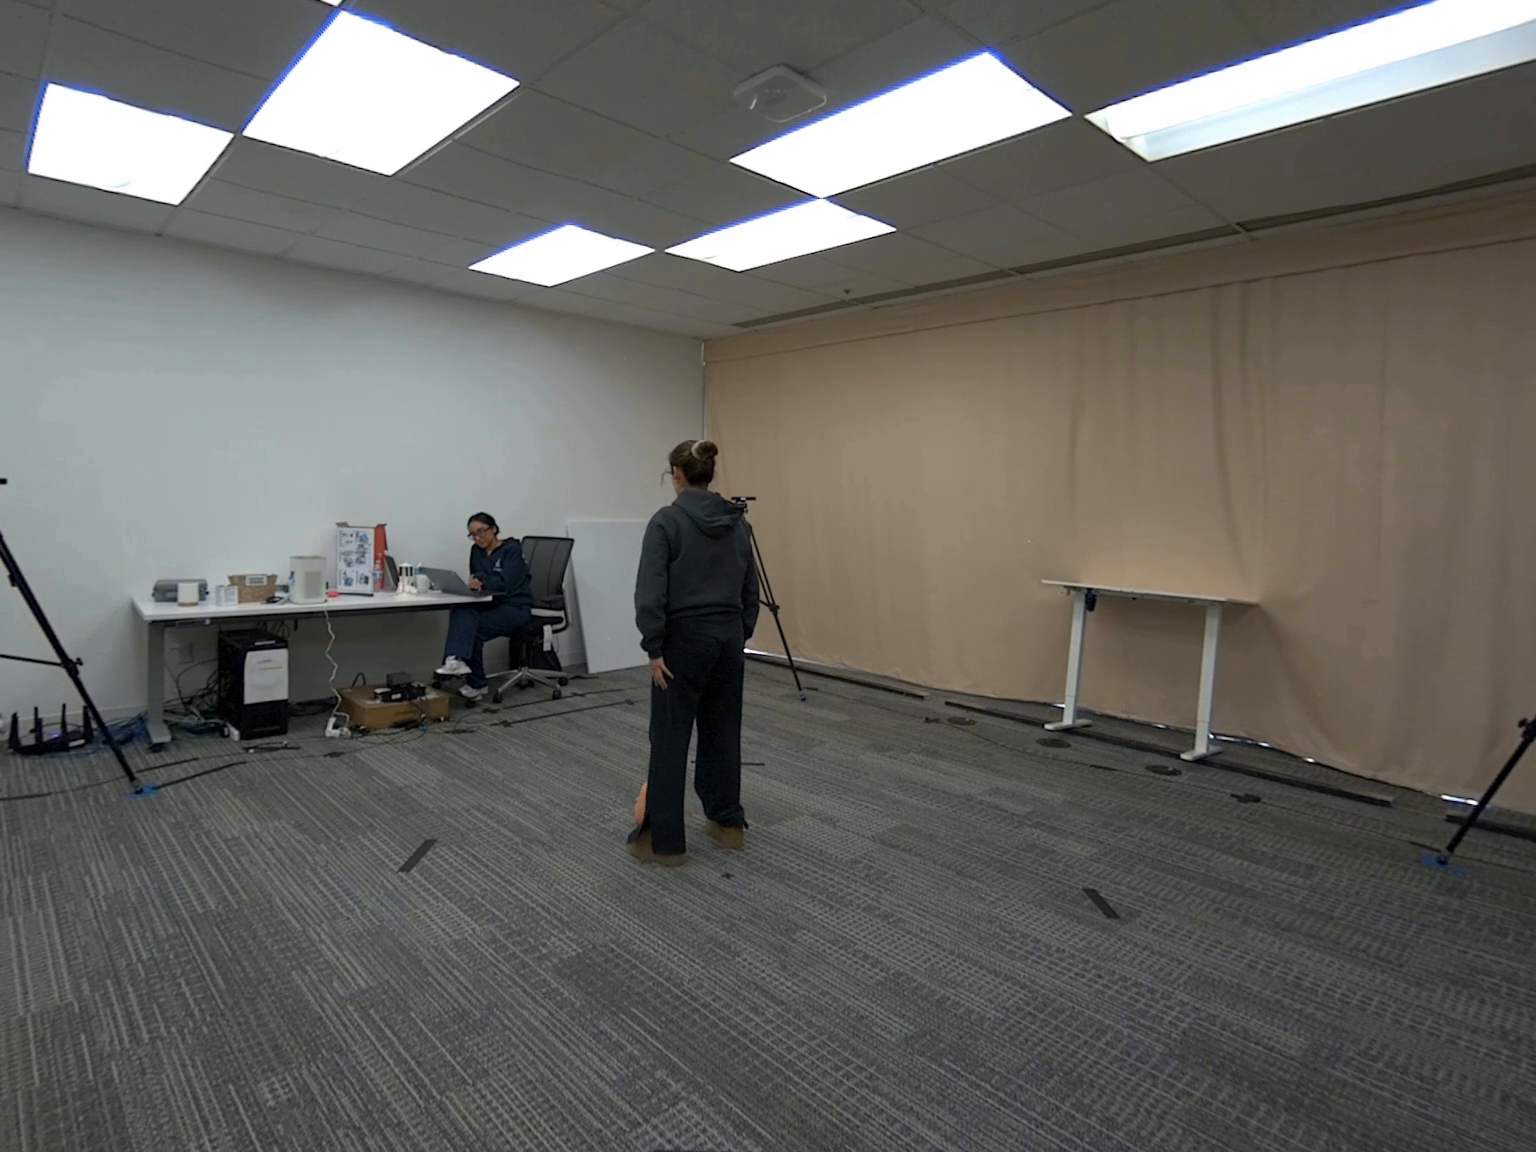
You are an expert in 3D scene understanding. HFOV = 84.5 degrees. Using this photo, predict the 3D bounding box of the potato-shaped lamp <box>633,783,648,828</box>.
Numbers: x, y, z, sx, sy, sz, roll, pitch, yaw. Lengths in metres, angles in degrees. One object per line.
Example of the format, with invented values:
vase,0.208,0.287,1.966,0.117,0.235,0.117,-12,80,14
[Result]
potato-shaped lamp,-0.493,0.957,3.578,0.176,0.197,0.161,10,6,44
